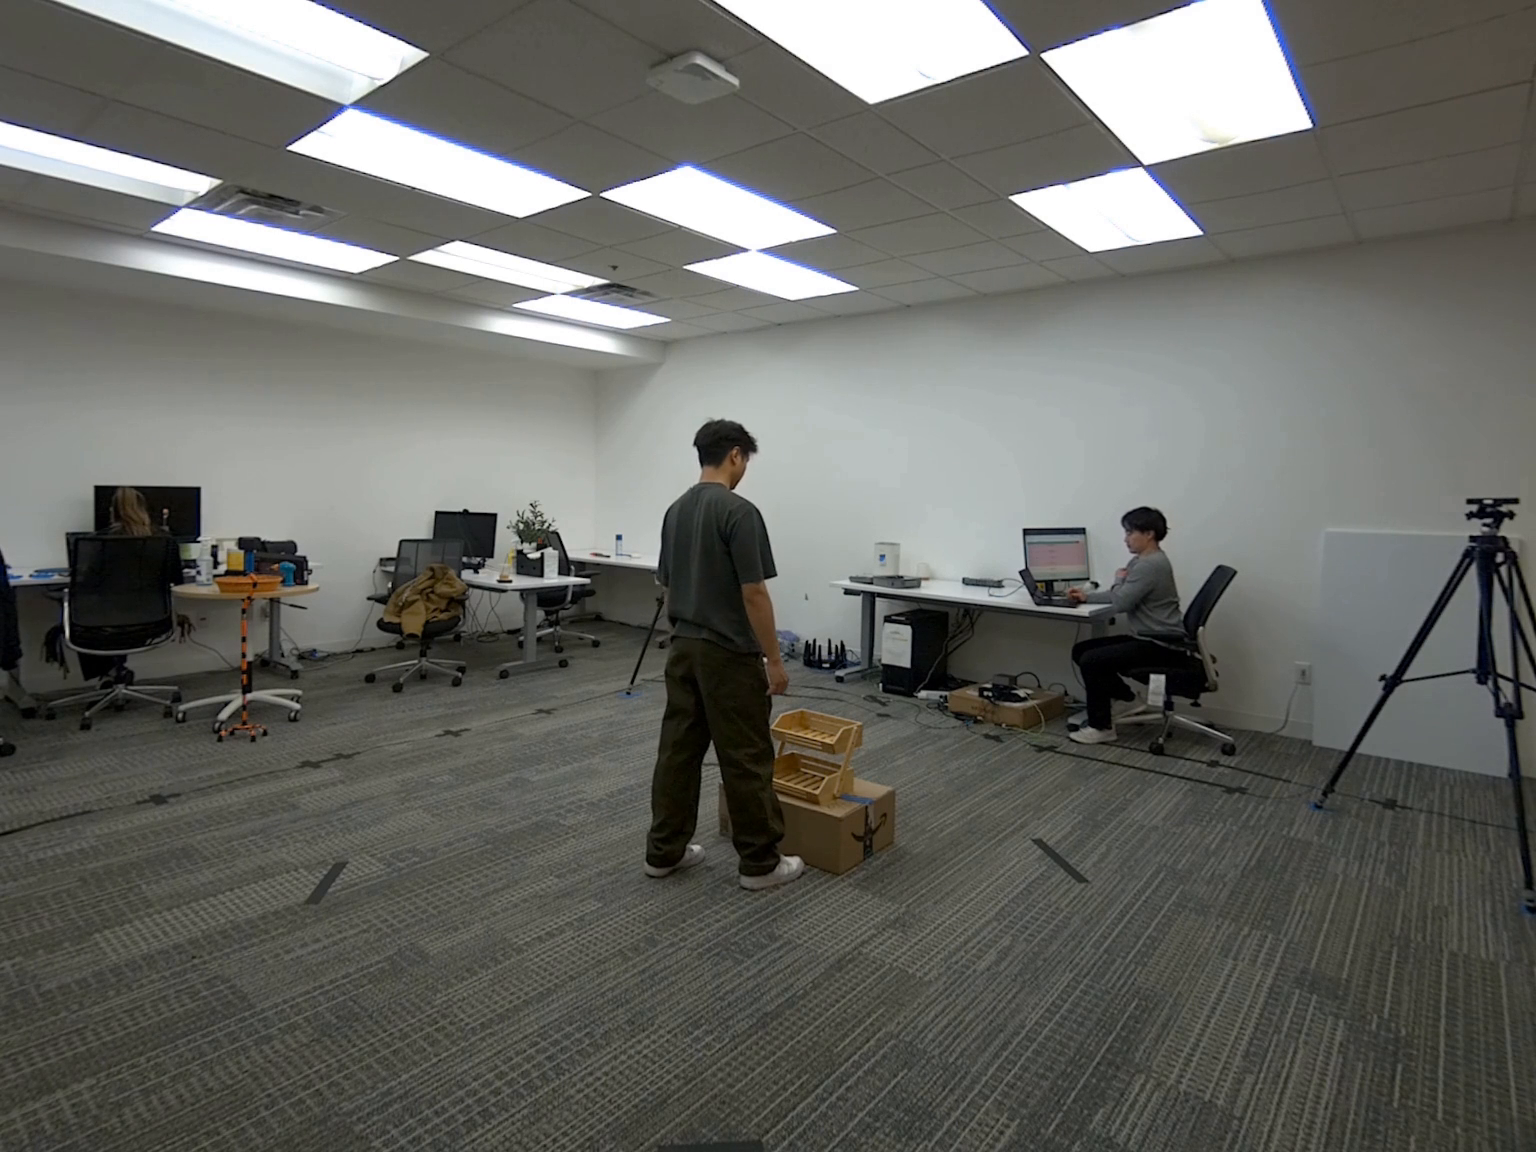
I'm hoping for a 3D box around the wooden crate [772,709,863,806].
[{"bbox_3d":[0.158,0.702,3.385,0.335,0.272,0.293,5,5,39],"label":"wooden crate"}]
